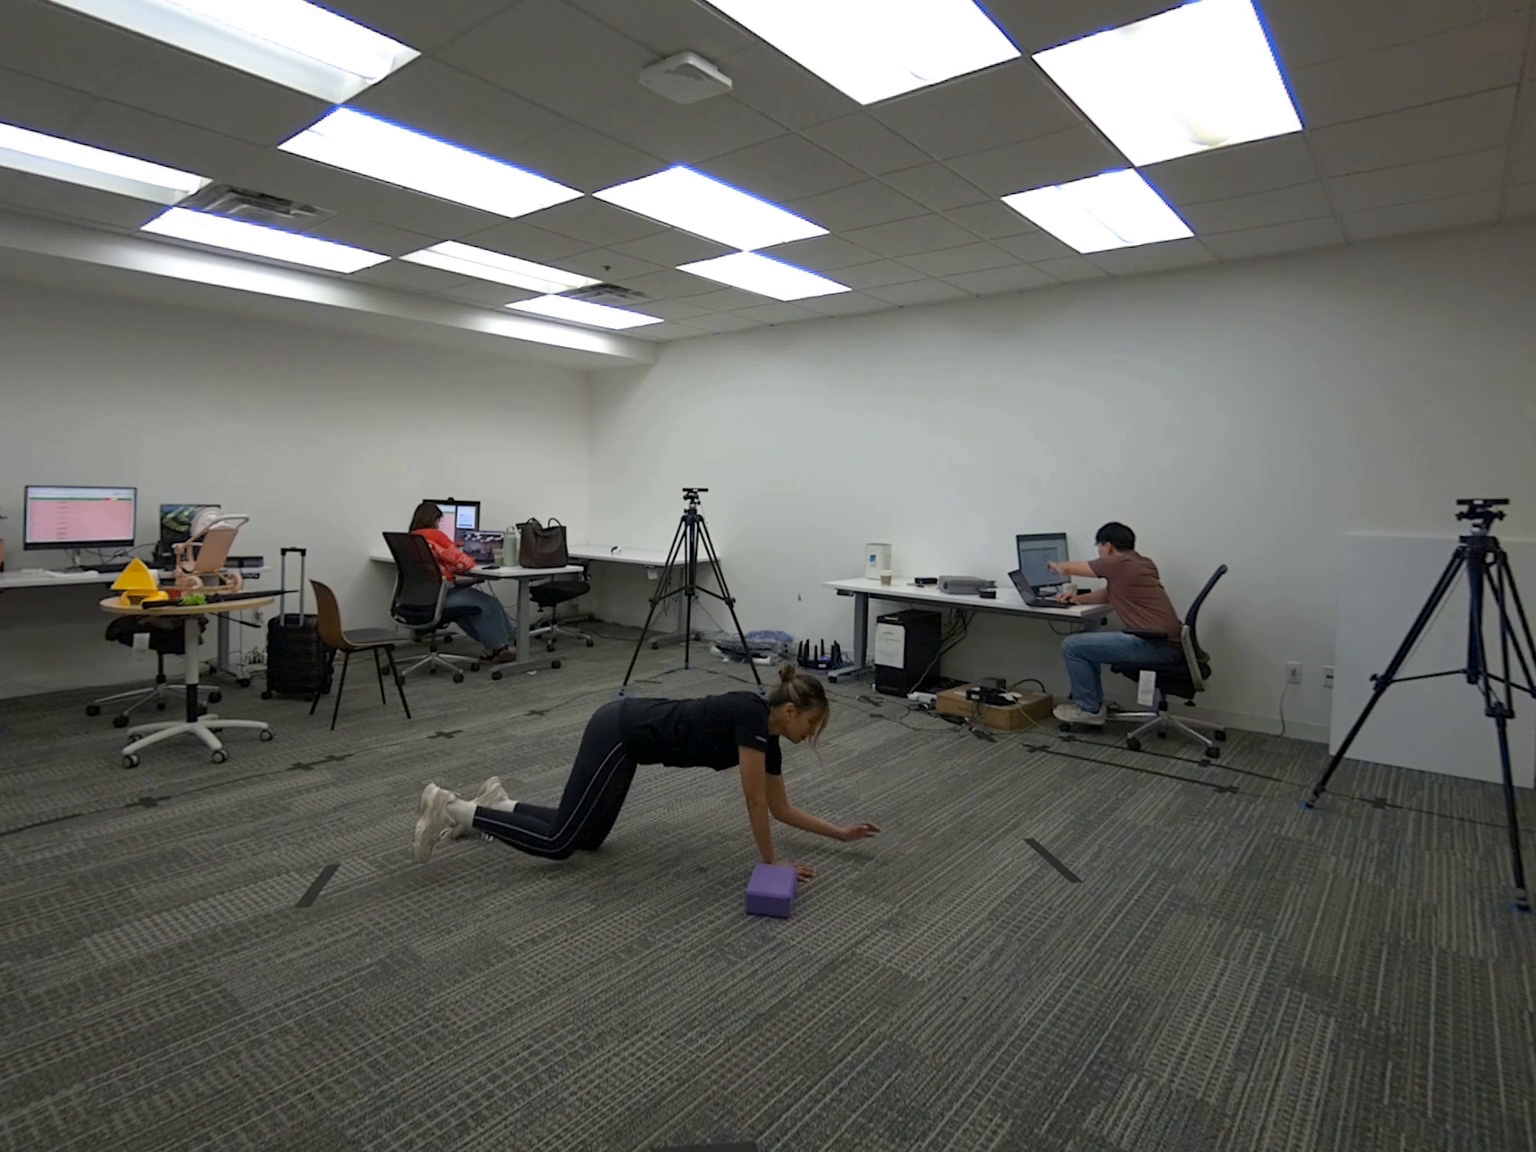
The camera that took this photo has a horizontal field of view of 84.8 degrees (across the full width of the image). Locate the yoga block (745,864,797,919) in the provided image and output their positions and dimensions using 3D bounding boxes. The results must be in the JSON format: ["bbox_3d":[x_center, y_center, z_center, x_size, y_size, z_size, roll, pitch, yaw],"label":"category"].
[{"bbox_3d":[0.004,1.058,2.876,0.150,0.076,0.227,1,4,8],"label":"yoga block"}]
